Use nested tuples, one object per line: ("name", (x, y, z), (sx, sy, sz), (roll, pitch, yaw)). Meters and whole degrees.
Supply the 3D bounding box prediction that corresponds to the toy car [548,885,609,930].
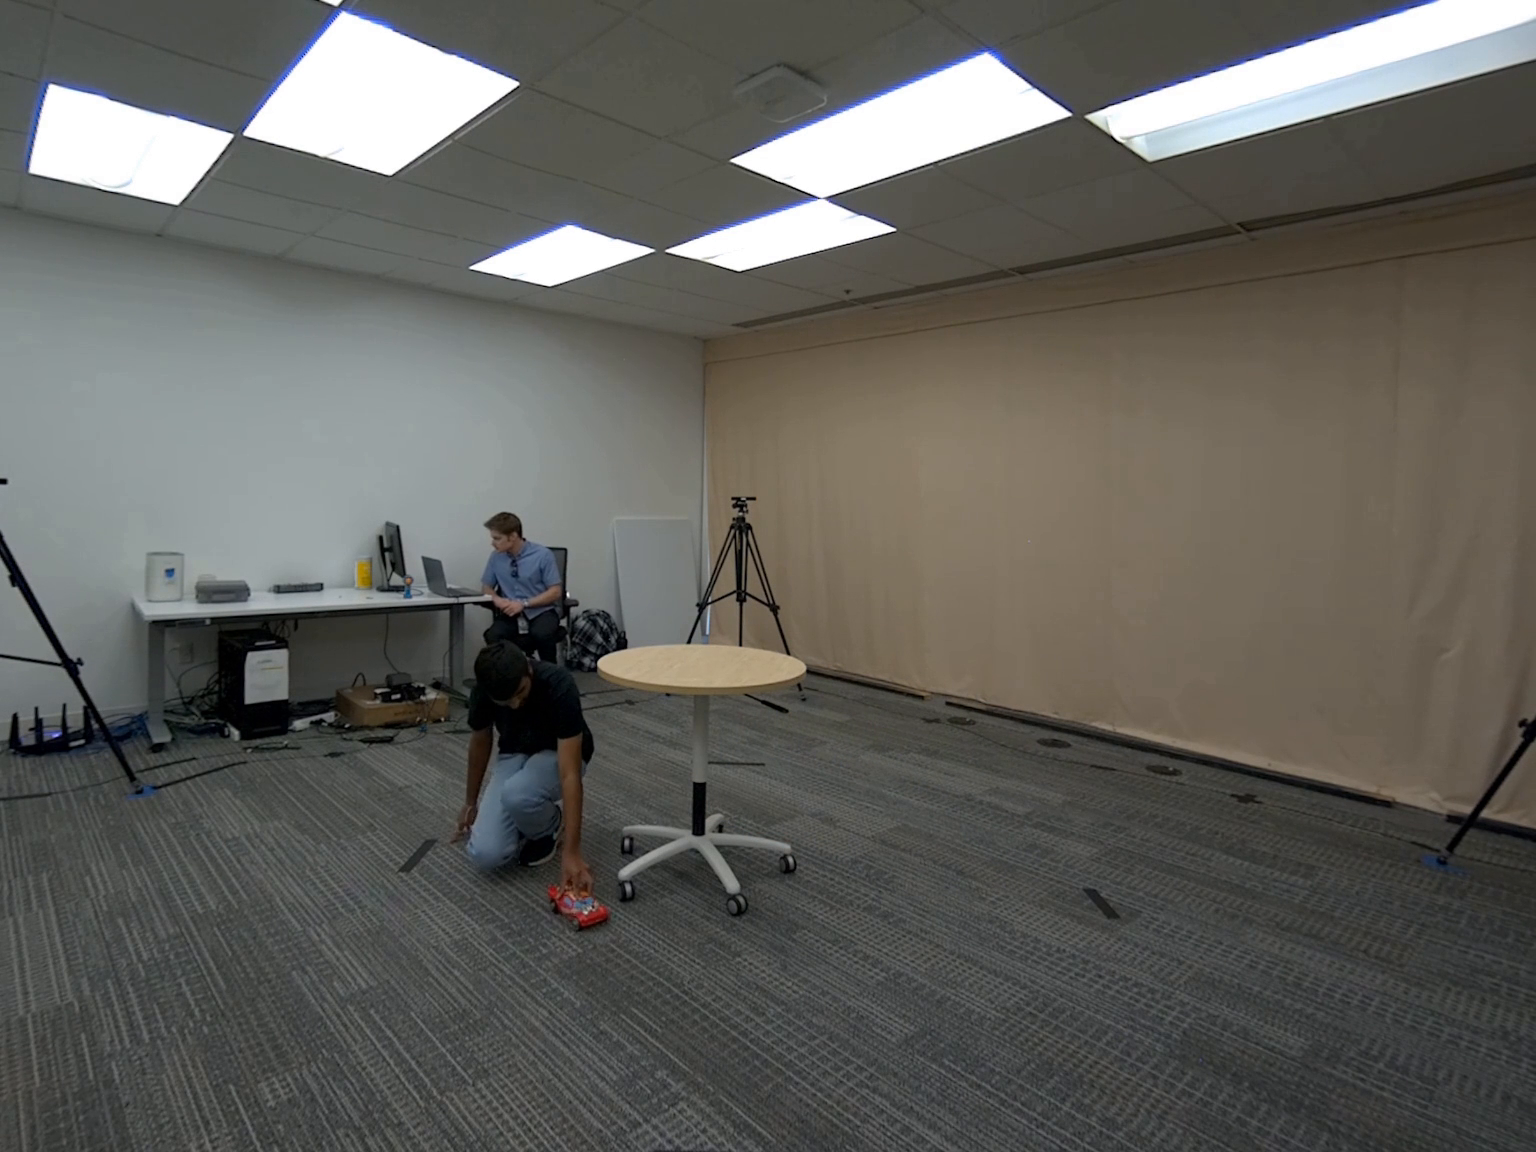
("toy car", (-0.642, 1.086, 2.800), (0.127, 0.082, 0.262), (-3, 16, -41))
